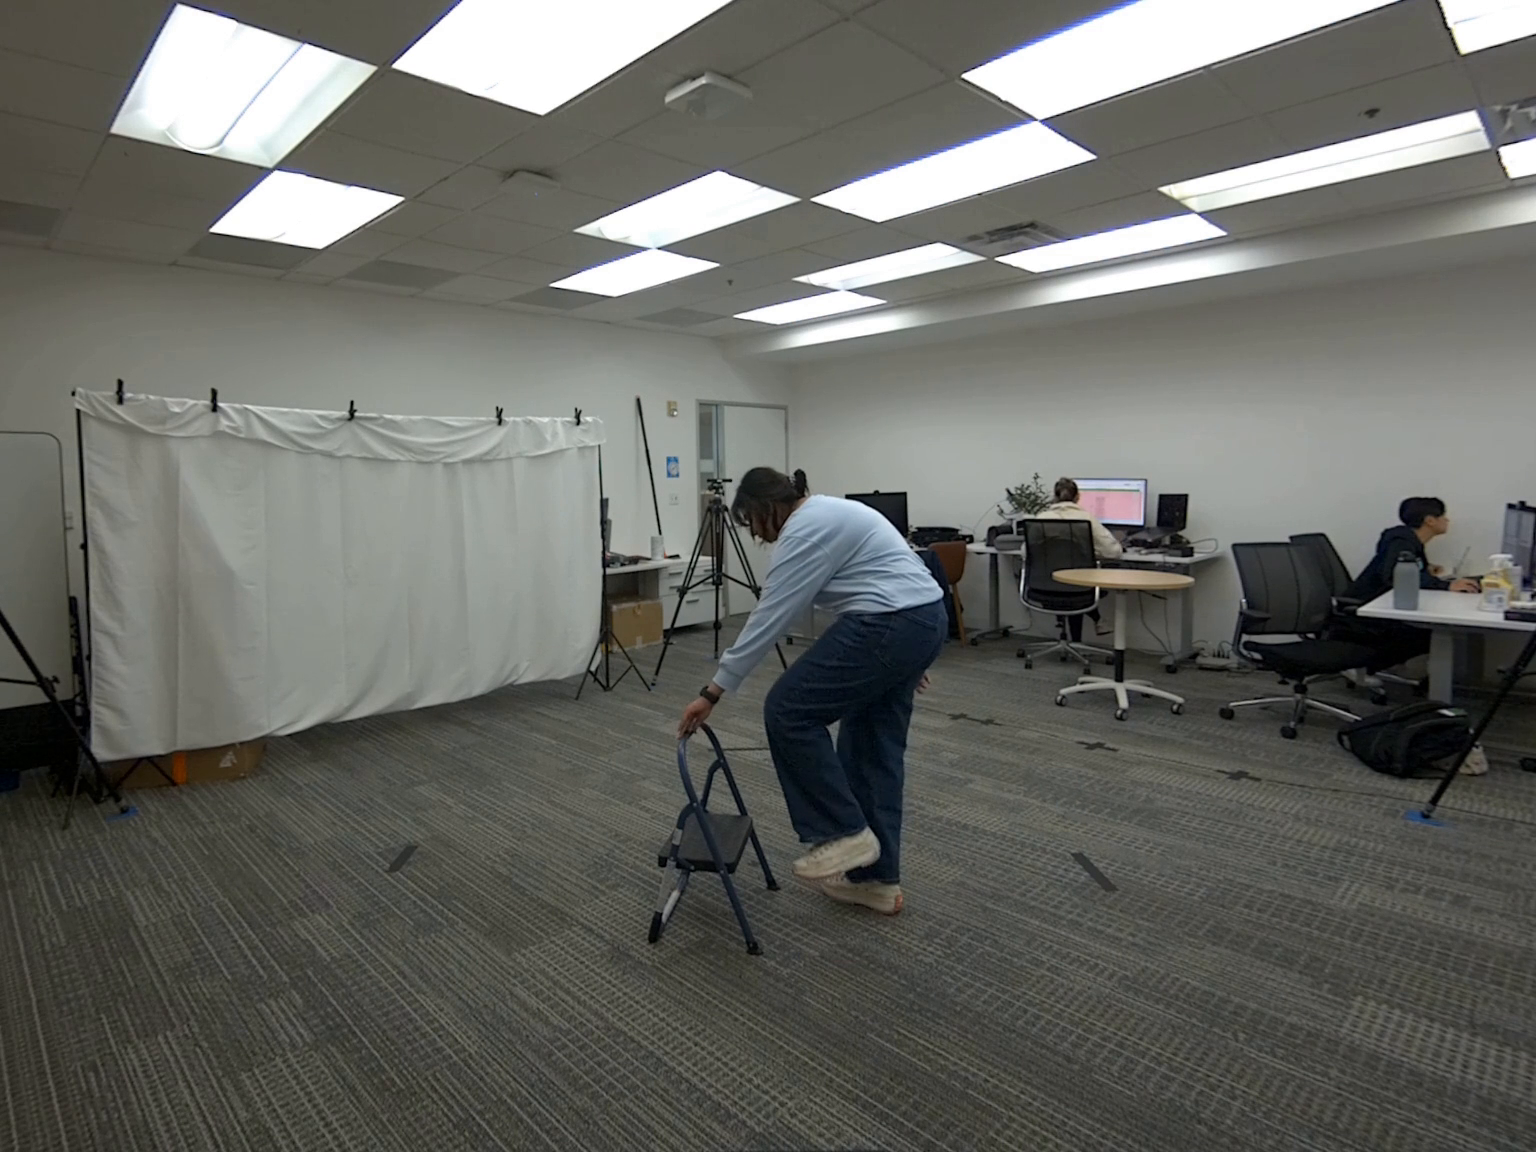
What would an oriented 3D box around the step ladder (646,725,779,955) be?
[{"bbox_3d":[-0.165,0.790,2.728,0.353,0.604,0.428,1,5,10],"label":"step ladder"}]
